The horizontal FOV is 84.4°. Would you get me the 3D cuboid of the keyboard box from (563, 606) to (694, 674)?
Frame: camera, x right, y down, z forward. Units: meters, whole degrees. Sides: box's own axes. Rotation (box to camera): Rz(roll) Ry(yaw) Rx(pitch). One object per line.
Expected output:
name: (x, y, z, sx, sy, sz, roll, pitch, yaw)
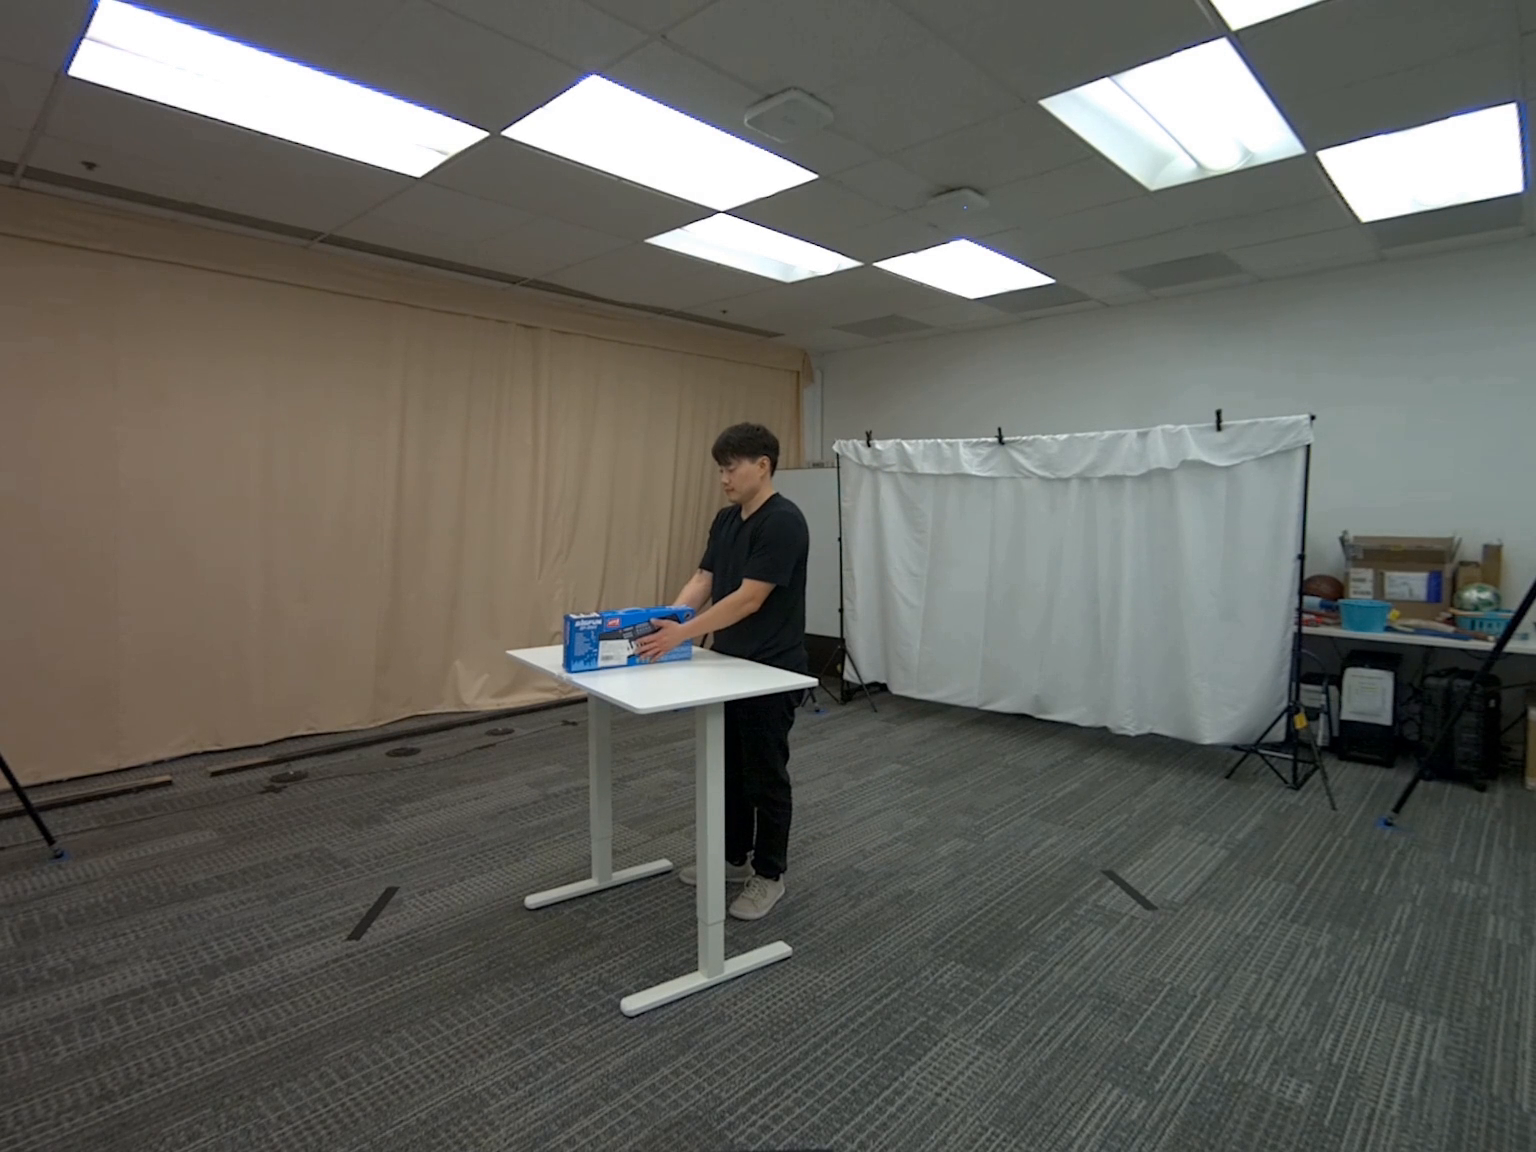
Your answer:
keyboard box: (-0.444, 0.202, 2.699, 0.424, 0.175, 0.061, -2, 9, -32)
